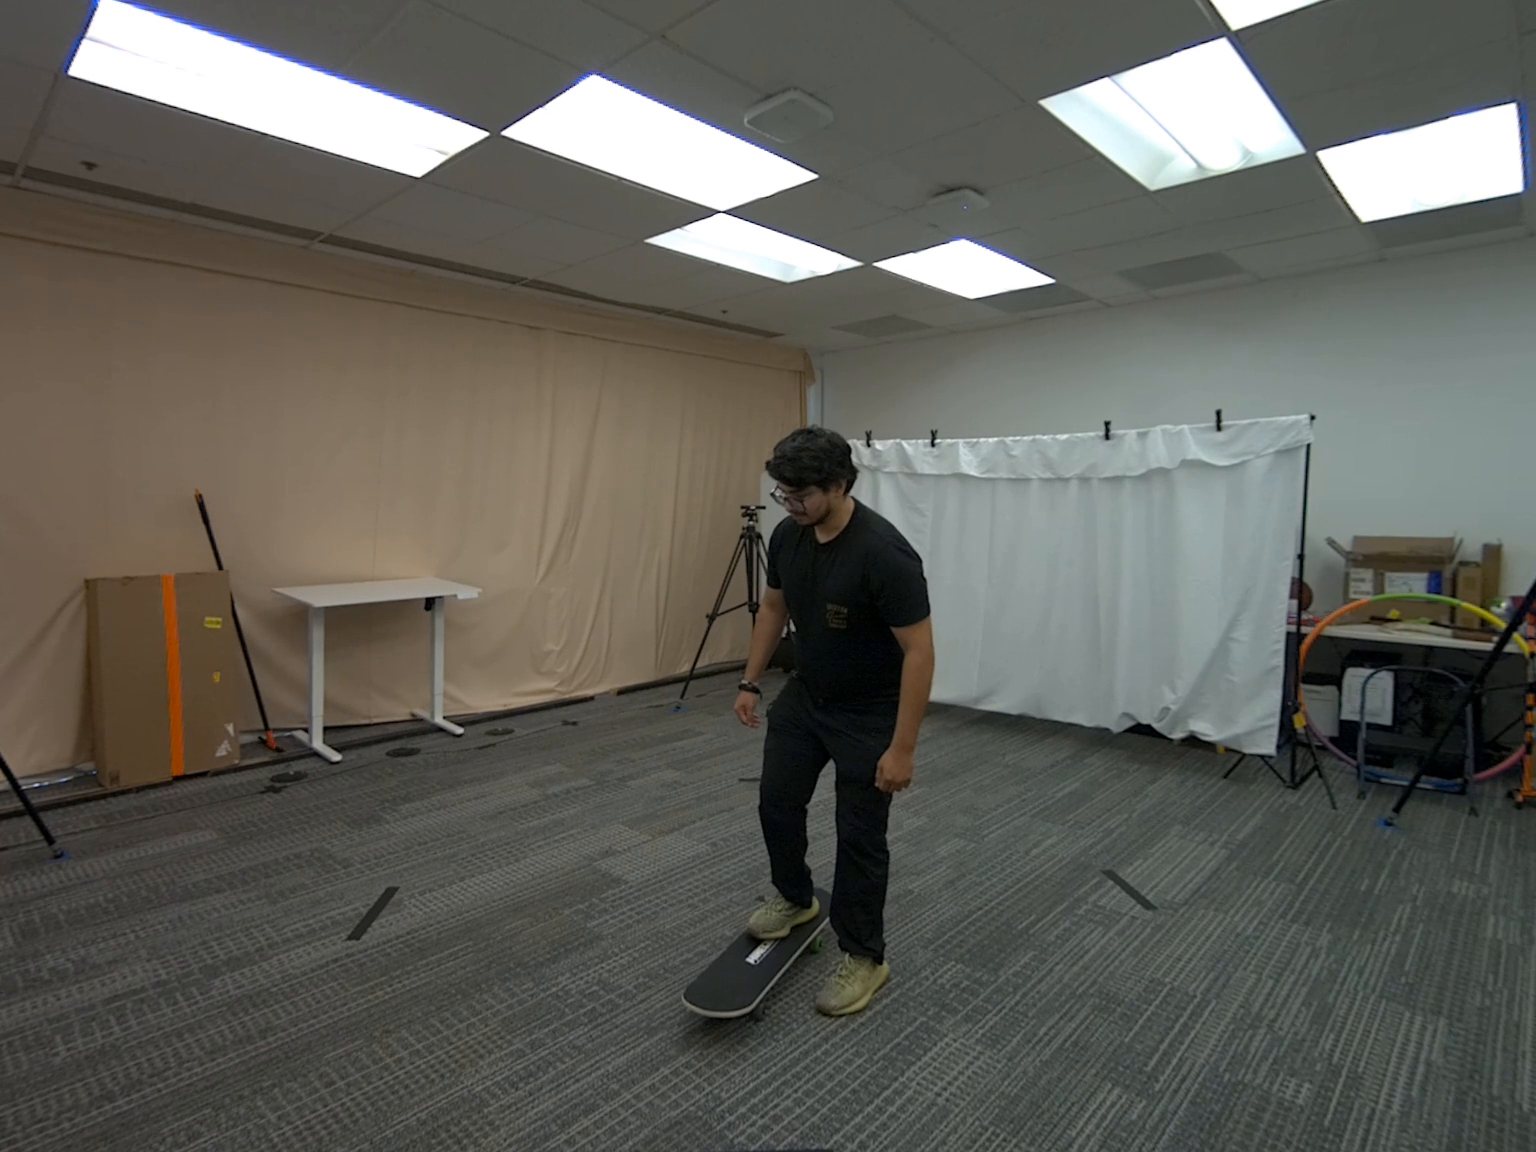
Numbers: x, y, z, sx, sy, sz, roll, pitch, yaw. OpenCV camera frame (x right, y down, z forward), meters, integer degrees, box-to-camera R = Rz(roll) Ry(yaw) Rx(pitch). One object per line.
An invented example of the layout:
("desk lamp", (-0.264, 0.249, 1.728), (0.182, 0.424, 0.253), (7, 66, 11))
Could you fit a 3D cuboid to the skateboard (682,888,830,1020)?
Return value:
("skateboard", (-0.004, 1.134, 2.483), (0.199, 0.110, 0.766), (2, 5, 26))
